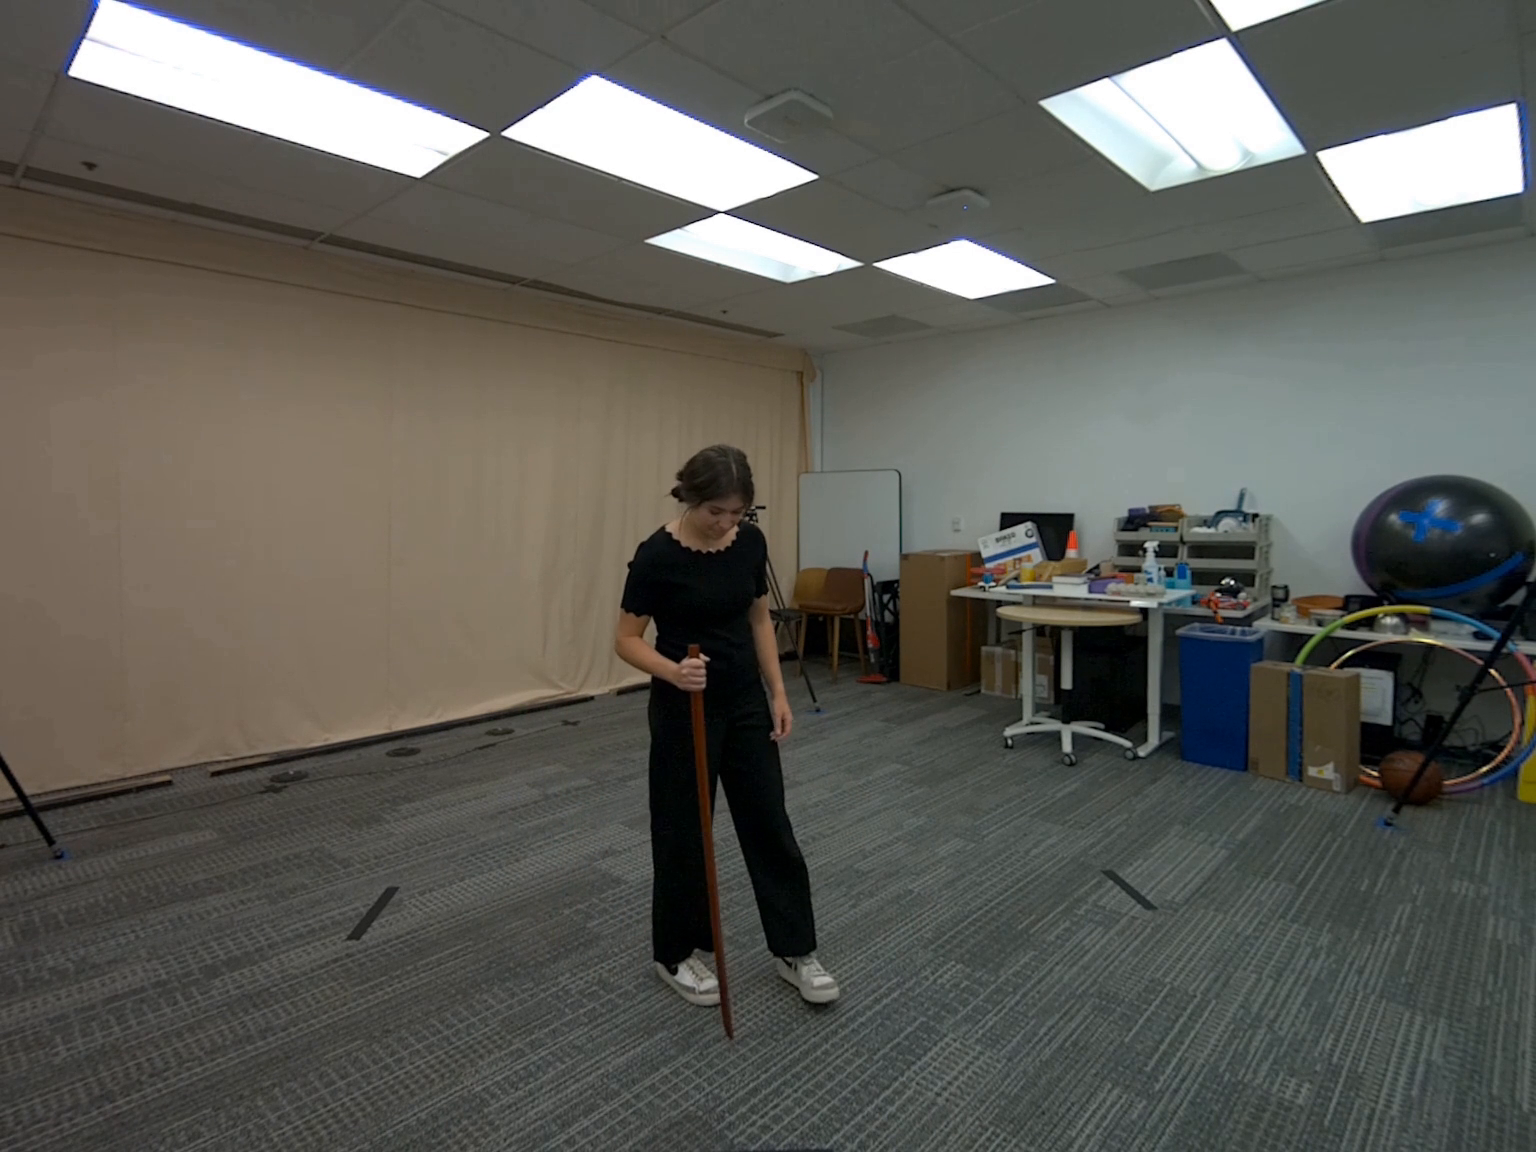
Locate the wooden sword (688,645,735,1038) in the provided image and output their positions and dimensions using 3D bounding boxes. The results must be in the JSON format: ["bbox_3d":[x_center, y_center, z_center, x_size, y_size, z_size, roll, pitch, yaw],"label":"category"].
[{"bbox_3d":[-0.150,0.706,2.184,0.050,1.023,0.025,-7,3,-39],"label":"wooden sword"}]
